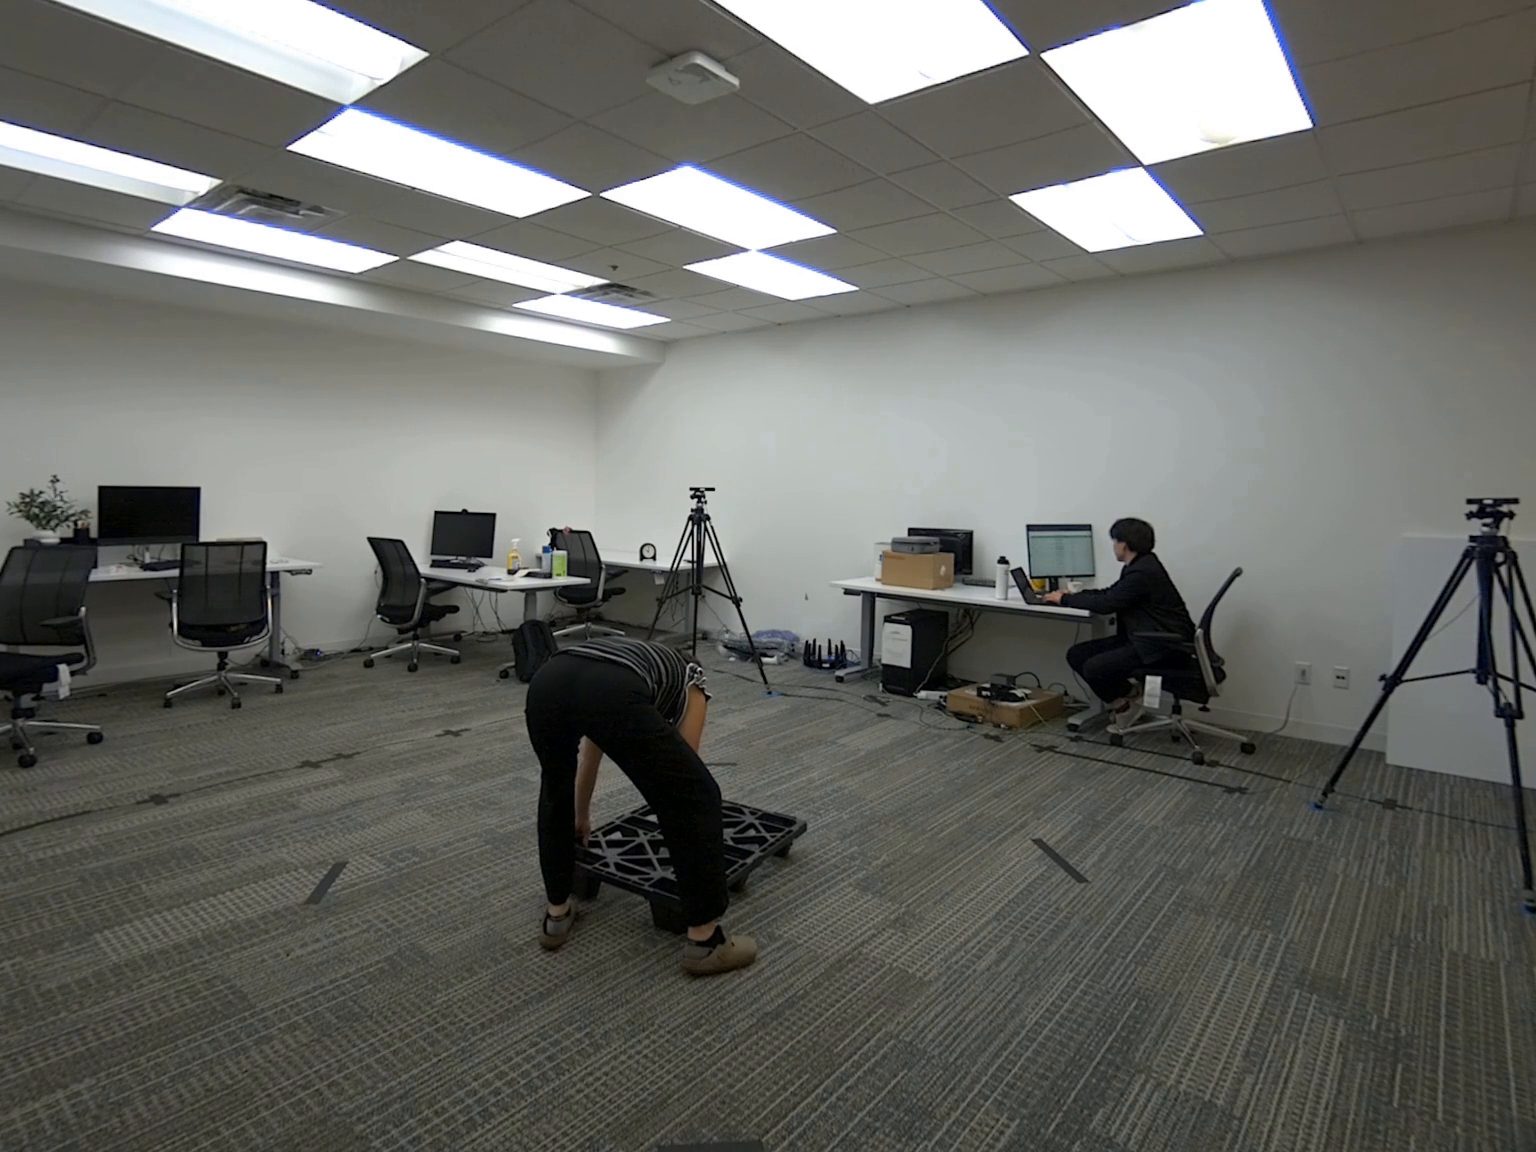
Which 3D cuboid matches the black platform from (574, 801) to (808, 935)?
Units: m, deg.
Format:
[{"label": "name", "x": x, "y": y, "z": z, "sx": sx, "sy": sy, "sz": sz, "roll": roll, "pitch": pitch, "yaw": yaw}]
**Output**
[{"label": "black platform", "x": -0.314, "y": 0.995, "z": 3.064, "sx": 0.623, "sy": 0.143, "sz": 0.784, "roll": 4, "pitch": 6, "yaw": 31}]
